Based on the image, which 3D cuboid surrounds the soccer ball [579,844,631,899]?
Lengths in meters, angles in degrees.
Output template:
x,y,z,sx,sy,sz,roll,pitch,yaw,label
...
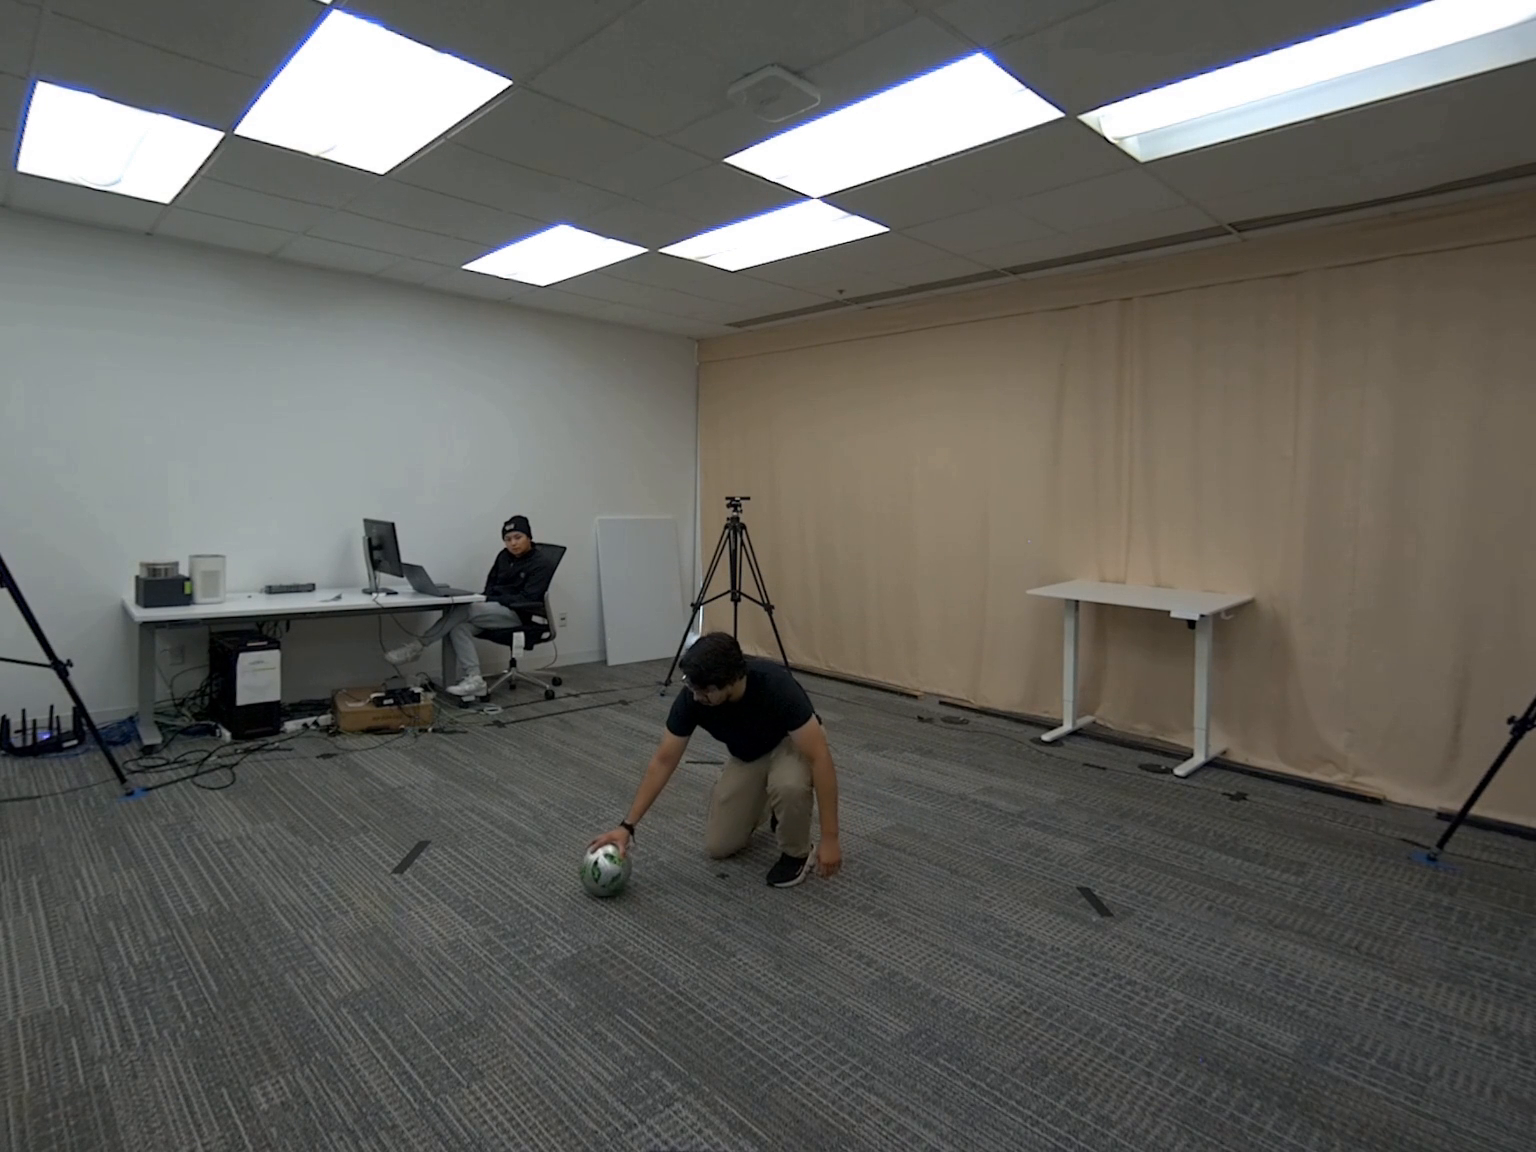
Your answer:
x,y,z,sx,sy,sz,roll,pitch,yaw,label
-0.572,1.016,2.955,0.187,0.187,0.188,1,4,-1,soccer ball
